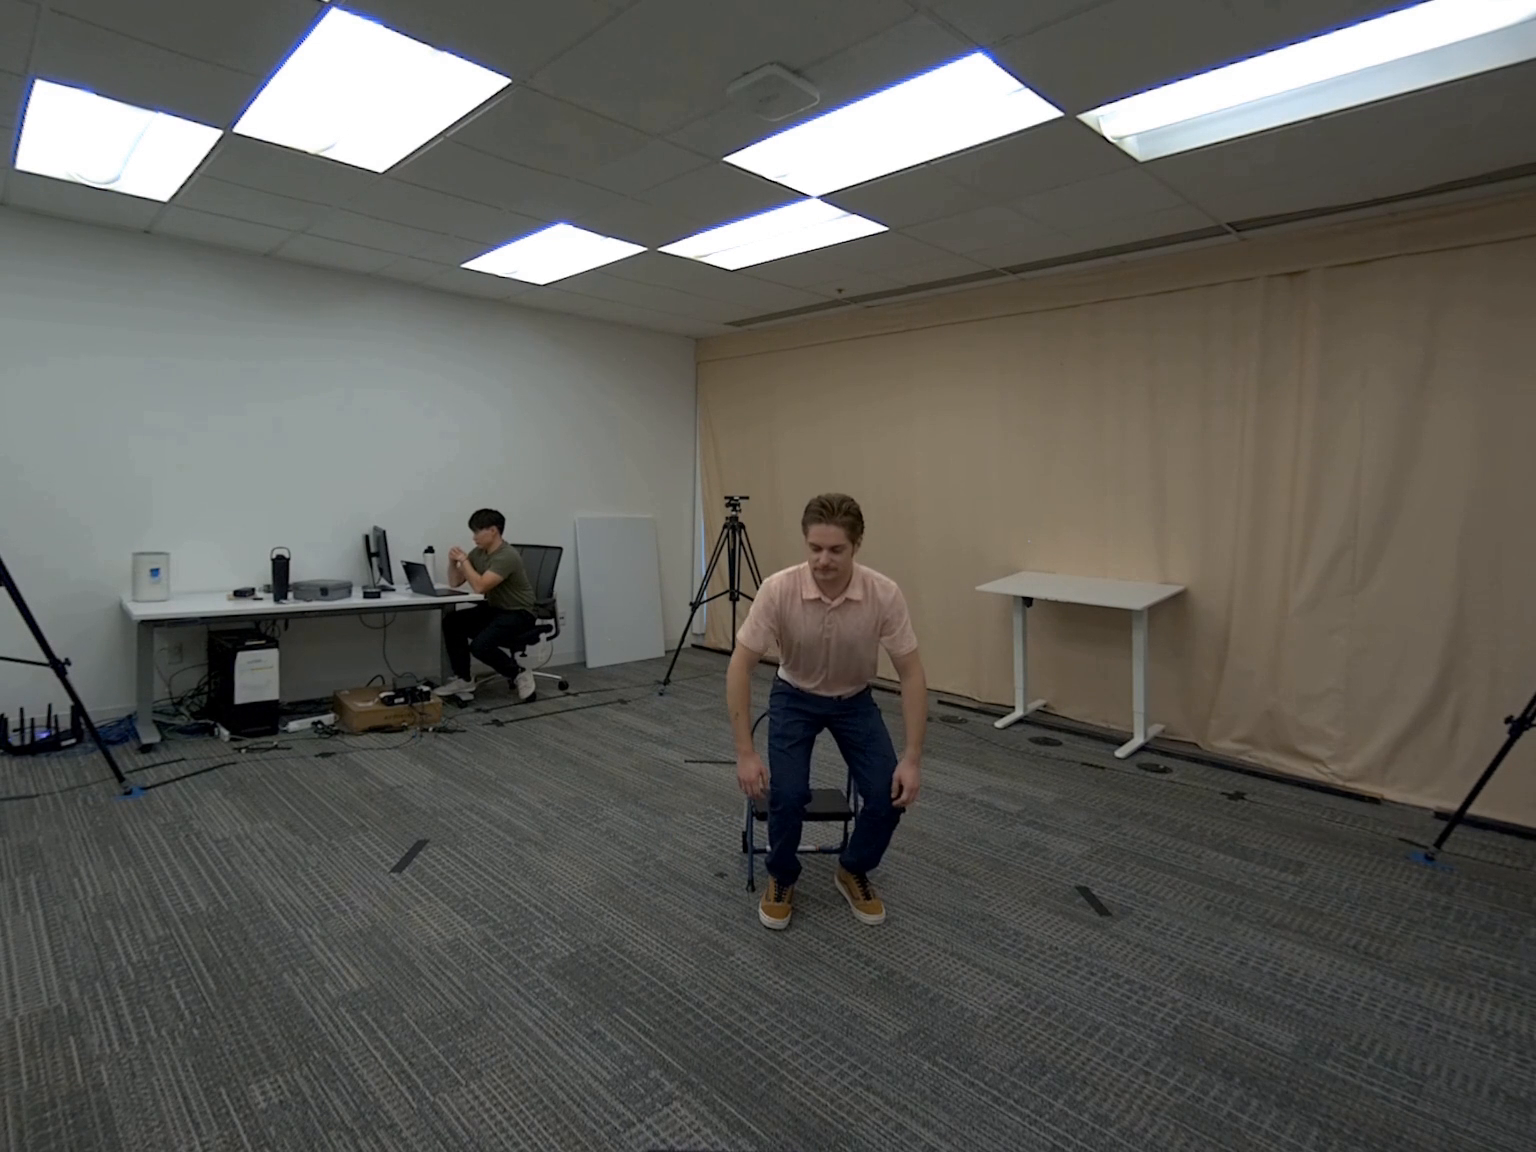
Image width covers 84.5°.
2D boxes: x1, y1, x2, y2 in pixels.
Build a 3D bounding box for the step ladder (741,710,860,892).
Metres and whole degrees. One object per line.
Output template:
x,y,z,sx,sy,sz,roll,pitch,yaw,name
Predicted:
0.122,0.808,3.150,0.429,0.604,0.351,1,3,-6,step ladder
